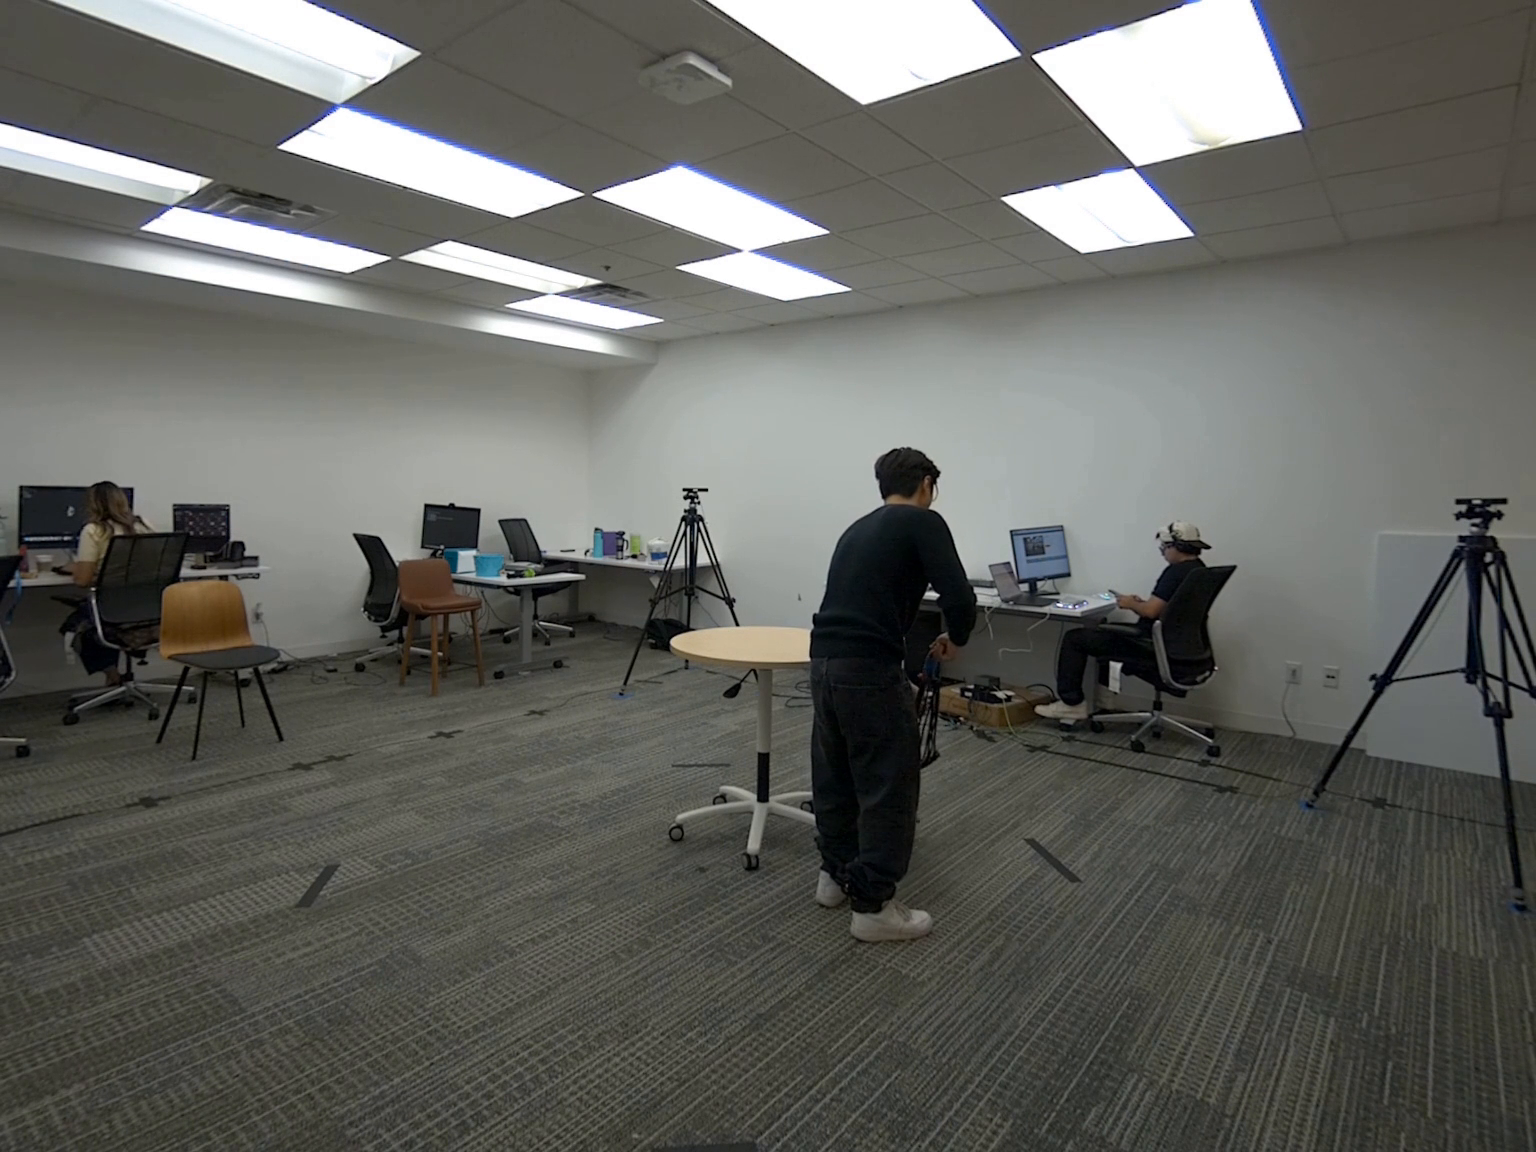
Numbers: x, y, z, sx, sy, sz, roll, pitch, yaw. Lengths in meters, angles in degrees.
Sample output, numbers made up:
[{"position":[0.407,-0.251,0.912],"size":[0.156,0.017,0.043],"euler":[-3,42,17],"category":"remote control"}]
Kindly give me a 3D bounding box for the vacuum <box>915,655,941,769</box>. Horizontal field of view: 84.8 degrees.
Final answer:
[{"position":[0.518,0.595,3.063],"size":[0.251,1.022,0.149],"euler":[-2,40,-7],"category":"vacuum"}]
